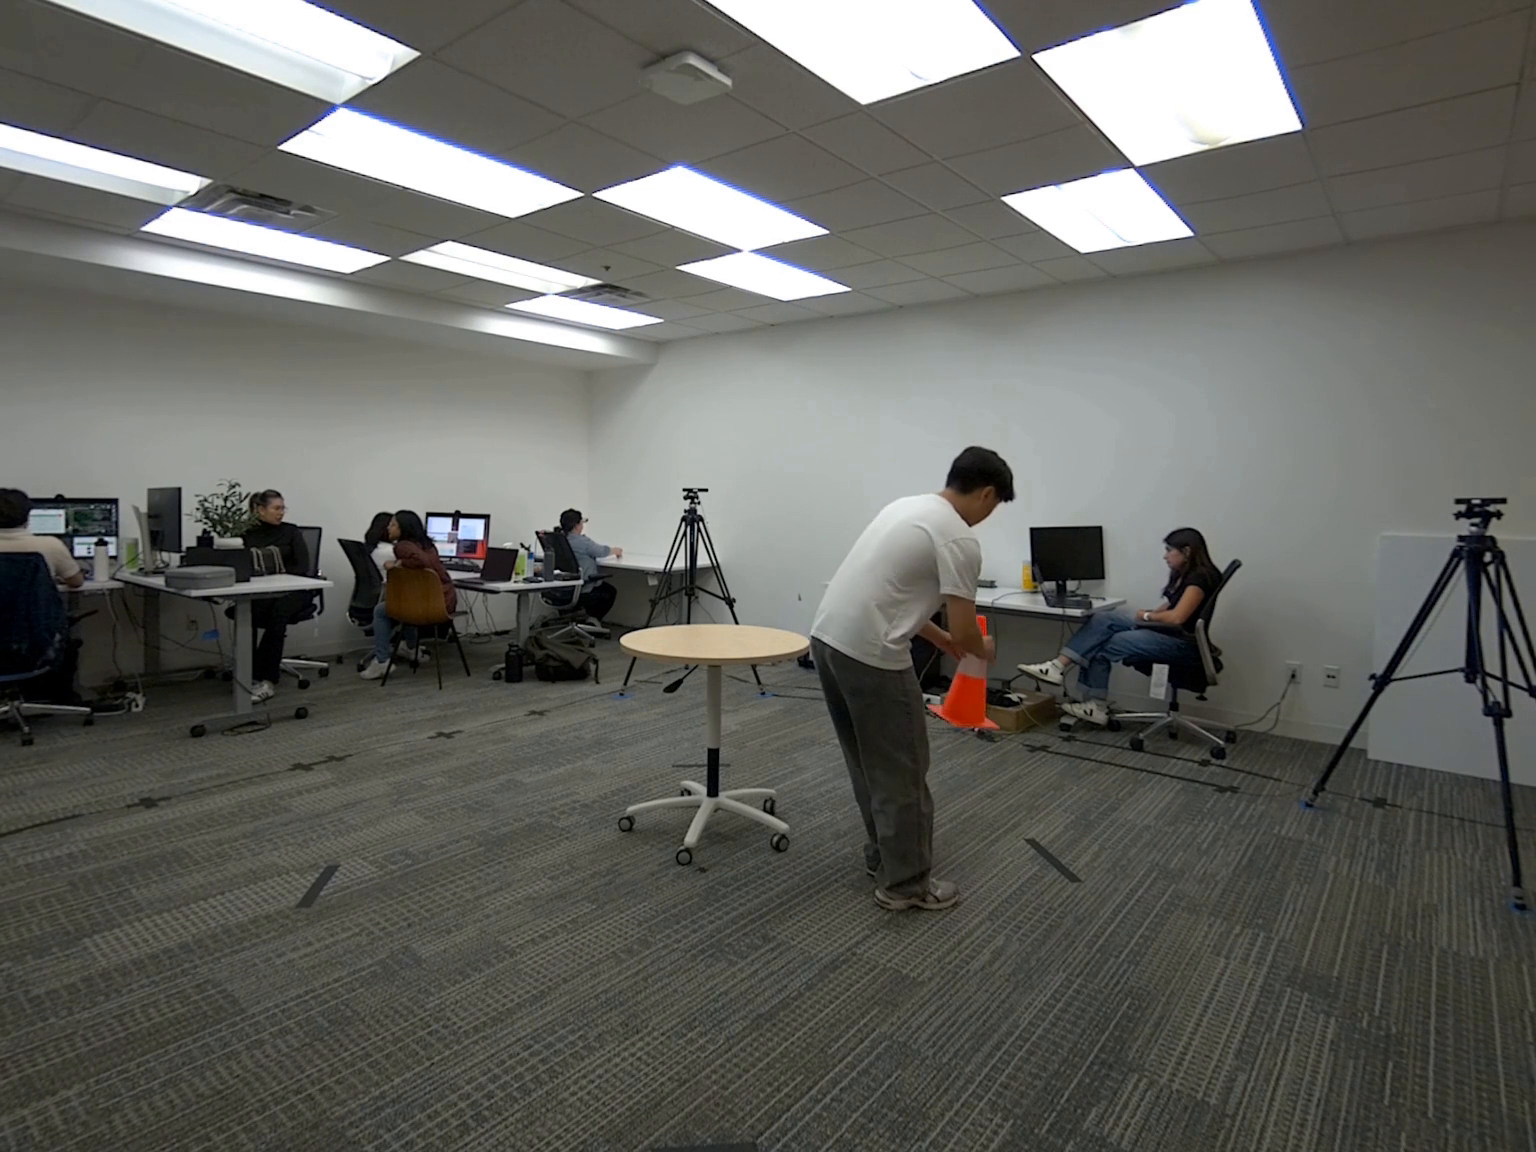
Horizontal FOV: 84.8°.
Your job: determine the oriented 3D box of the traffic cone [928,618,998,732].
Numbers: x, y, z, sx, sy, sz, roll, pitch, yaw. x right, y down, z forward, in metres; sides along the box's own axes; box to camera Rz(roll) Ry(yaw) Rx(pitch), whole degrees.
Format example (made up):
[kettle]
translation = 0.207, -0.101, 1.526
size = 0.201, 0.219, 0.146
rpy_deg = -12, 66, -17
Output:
[traffic cone]
translation = 0.753, 0.338, 3.088
size = 0.199, 0.381, 0.211
rpy_deg = 4, 10, -32
